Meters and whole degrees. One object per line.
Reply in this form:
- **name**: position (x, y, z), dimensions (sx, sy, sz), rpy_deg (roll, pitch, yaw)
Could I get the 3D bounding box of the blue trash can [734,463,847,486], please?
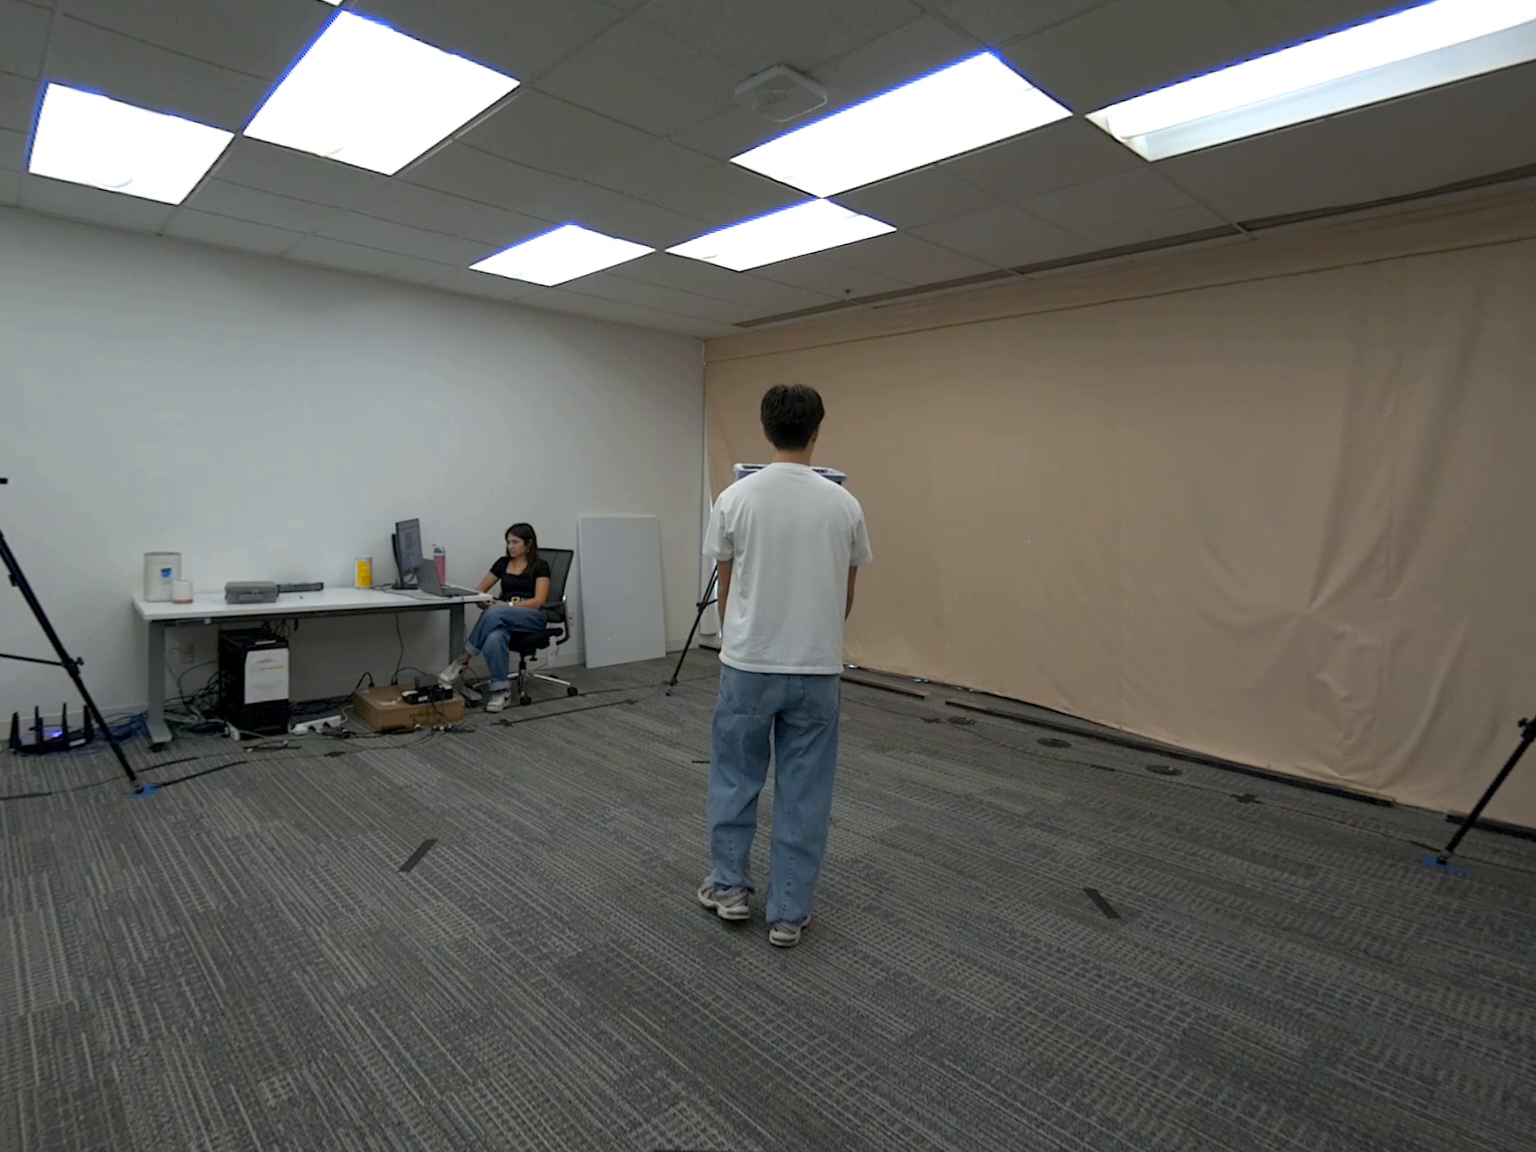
- **blue trash can**: position (0.047, -0.030, 2.995), dimensions (0.373, 0.709, 0.381), rpy_deg (2, 8, -2)
